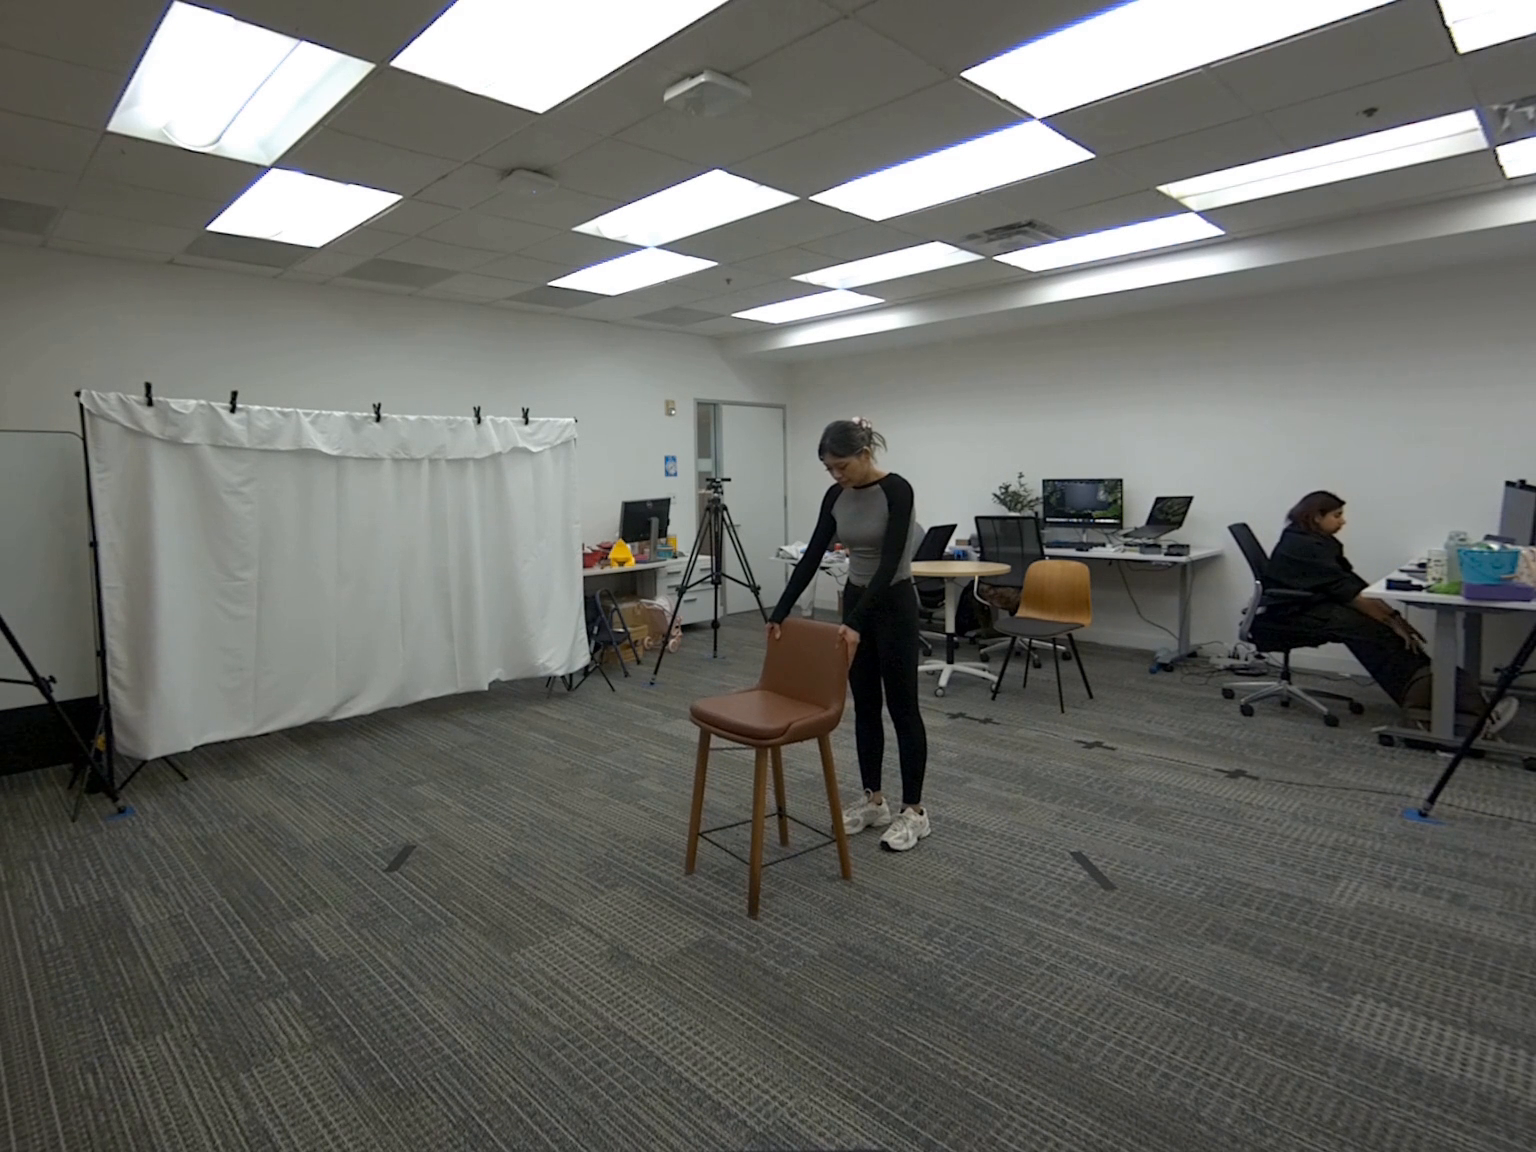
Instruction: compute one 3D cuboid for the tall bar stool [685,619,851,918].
[{"bbox_3d":[0.011,0.617,2.975,0.455,0.888,0.470,0,3,-37],"label":"tall bar stool"}]
